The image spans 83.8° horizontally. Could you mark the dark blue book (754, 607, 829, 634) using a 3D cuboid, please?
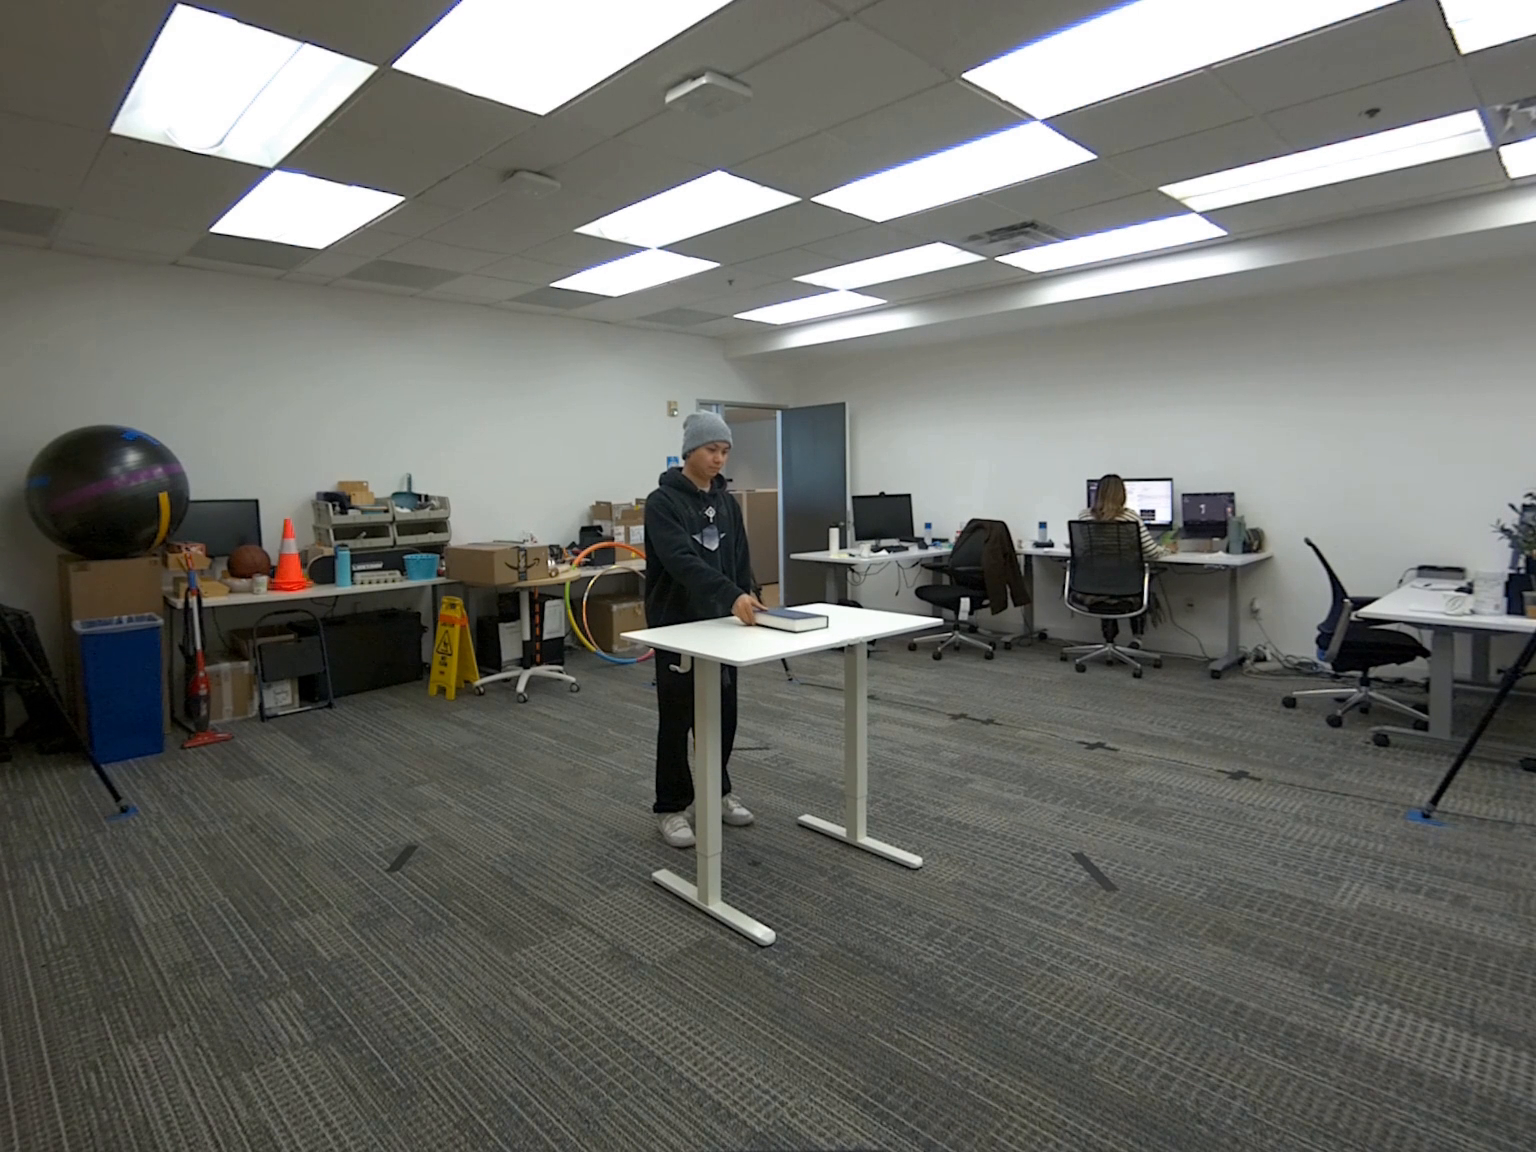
[{"bbox_3d":[0.078,0.152,2.977,0.159,0.045,0.253,-3,7,-42],"label":"dark blue book"}]
